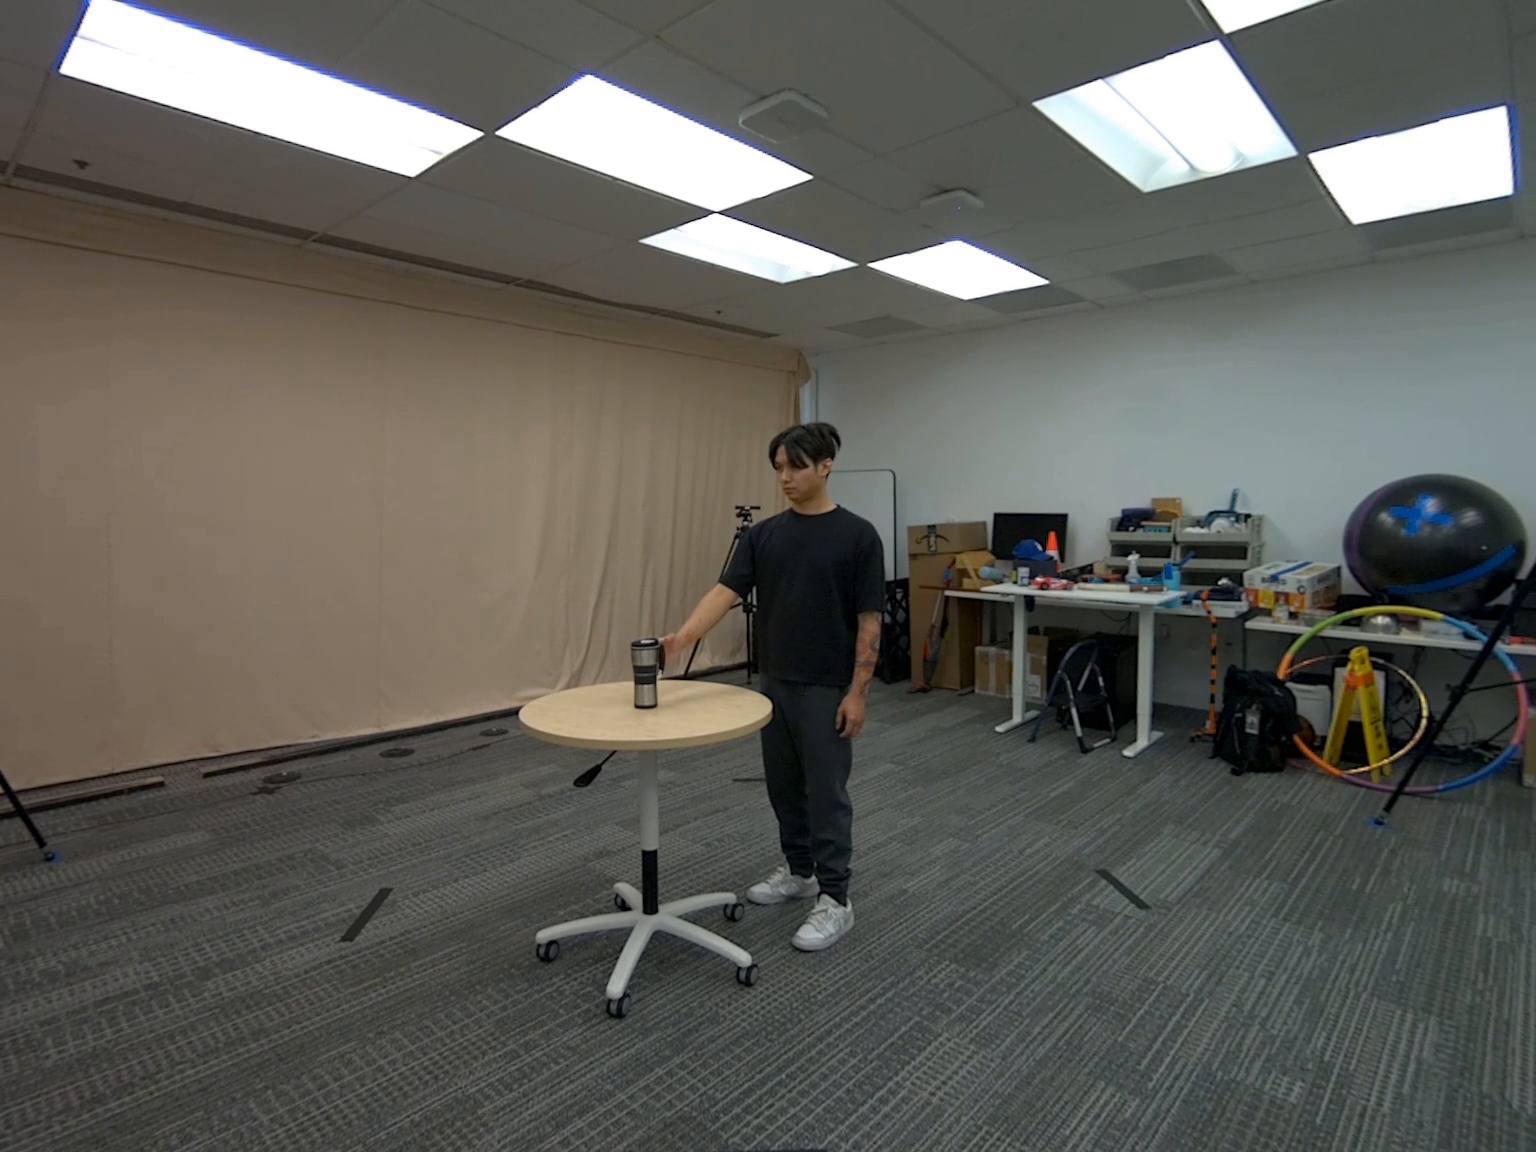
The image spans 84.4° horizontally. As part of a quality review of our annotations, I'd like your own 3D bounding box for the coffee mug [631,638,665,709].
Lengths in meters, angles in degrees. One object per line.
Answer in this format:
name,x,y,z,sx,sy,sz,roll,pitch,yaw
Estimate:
coffee mug,-0.352,0.300,2.564,0.119,0.203,0.090,-5,1,-24
